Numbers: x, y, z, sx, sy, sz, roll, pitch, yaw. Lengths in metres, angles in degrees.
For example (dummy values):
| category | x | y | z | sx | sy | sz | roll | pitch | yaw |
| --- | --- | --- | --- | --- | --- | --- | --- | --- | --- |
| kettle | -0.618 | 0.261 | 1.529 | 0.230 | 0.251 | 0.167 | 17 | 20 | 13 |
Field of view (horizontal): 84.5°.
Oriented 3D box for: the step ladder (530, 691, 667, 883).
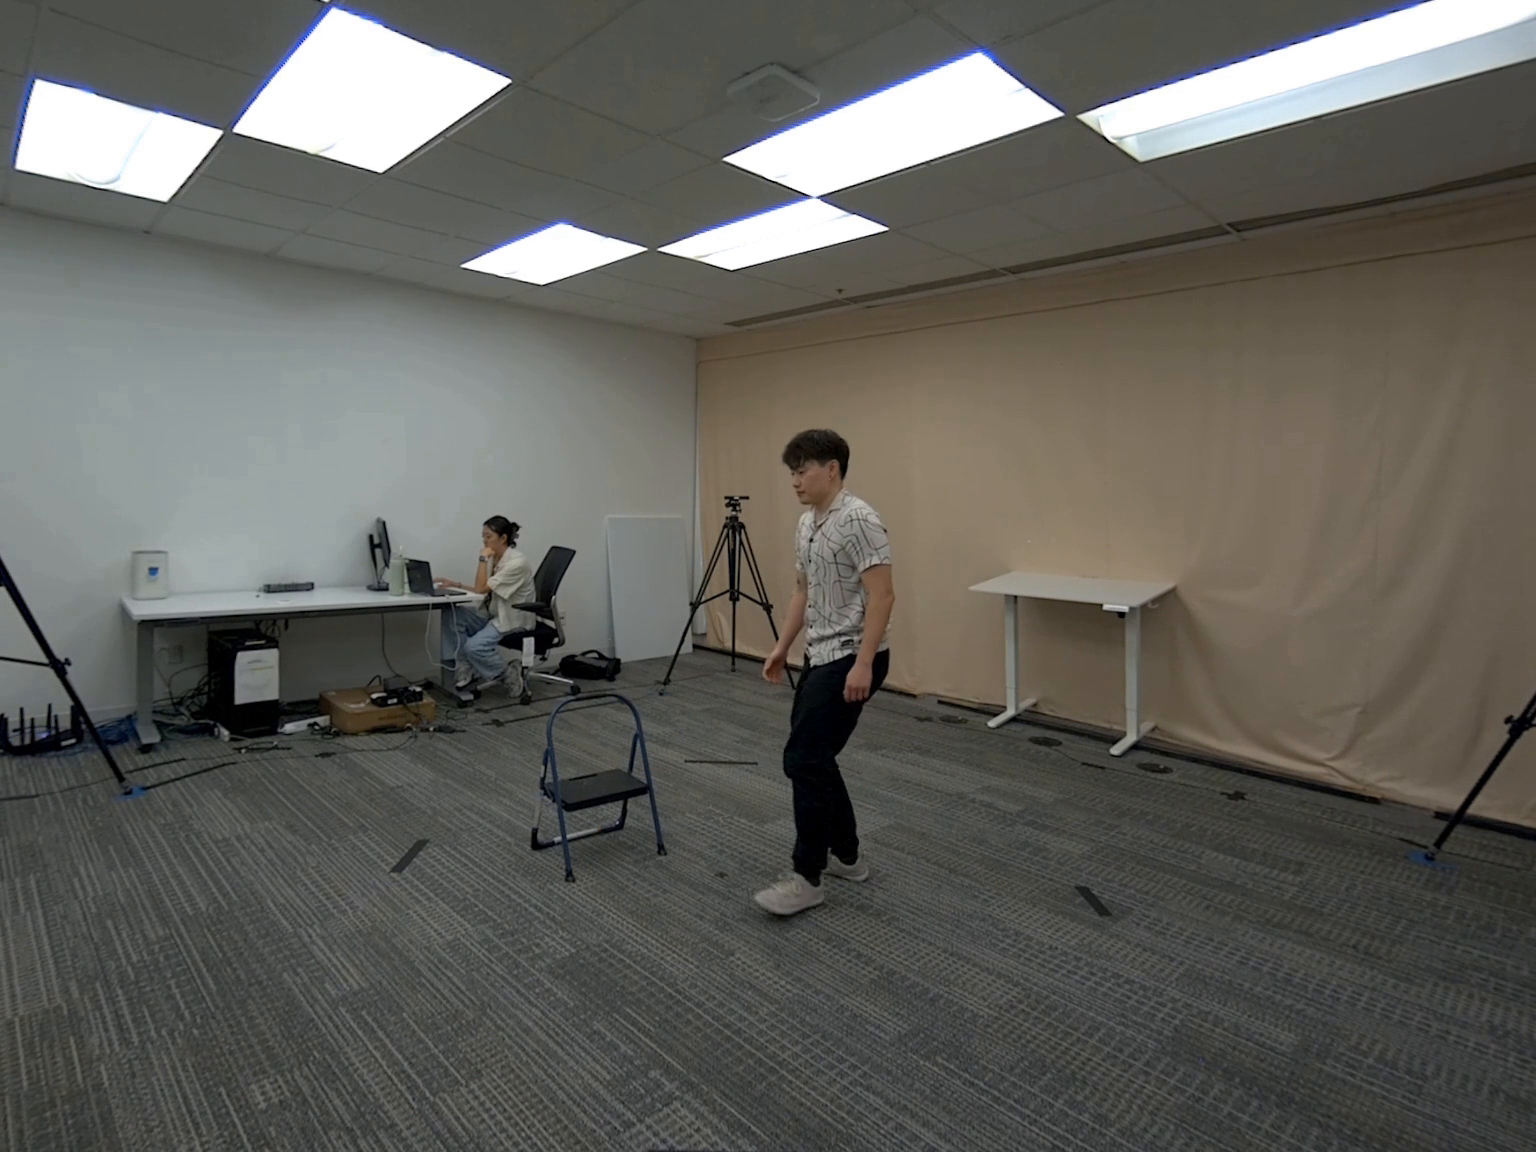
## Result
| category | x | y | z | sx | sy | sz | roll | pitch | yaw |
| --- | --- | --- | --- | --- | --- | --- | --- | --- | --- |
| step ladder | -0.658 | 0.770 | 3.267 | 0.421 | 0.604 | 0.358 | -2 | 4 | -39 |
